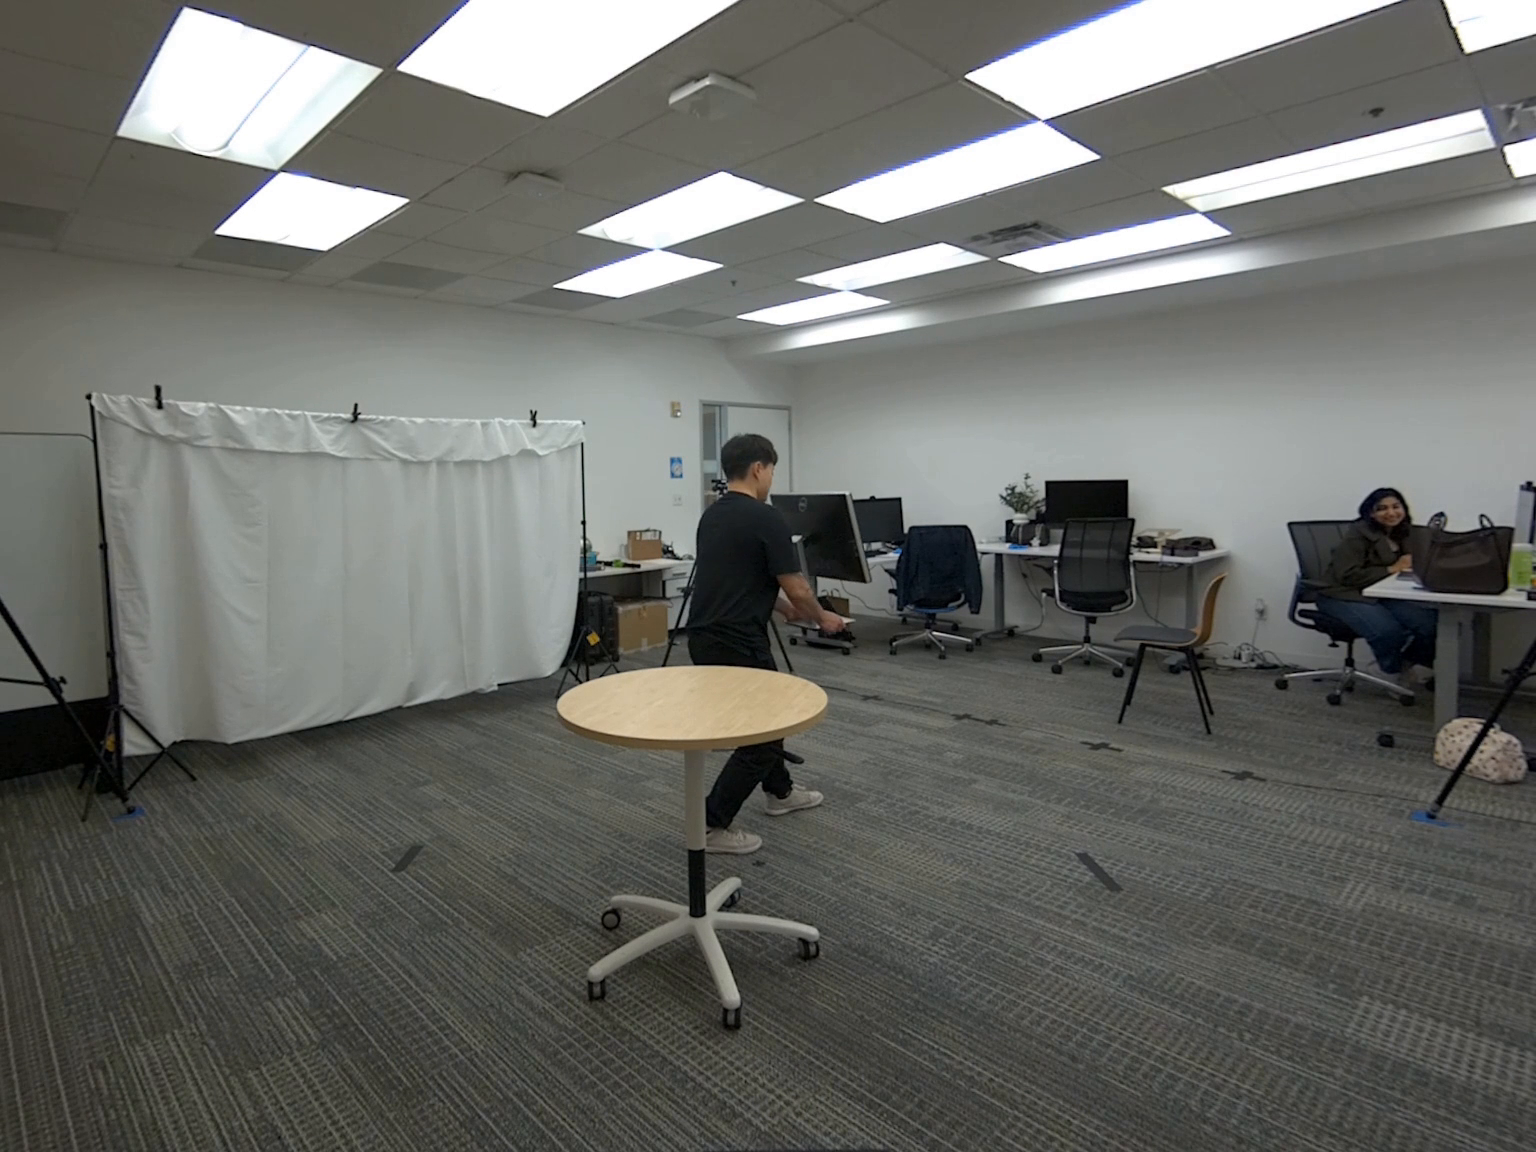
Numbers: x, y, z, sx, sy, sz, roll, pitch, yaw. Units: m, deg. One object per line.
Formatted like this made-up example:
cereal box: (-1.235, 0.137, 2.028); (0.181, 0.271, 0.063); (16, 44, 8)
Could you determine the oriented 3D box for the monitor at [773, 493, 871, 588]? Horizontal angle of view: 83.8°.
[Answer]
monitor: (0.183, -0.070, 3.481); (0.183, 0.520, 0.554); (-8, 7, -31)
